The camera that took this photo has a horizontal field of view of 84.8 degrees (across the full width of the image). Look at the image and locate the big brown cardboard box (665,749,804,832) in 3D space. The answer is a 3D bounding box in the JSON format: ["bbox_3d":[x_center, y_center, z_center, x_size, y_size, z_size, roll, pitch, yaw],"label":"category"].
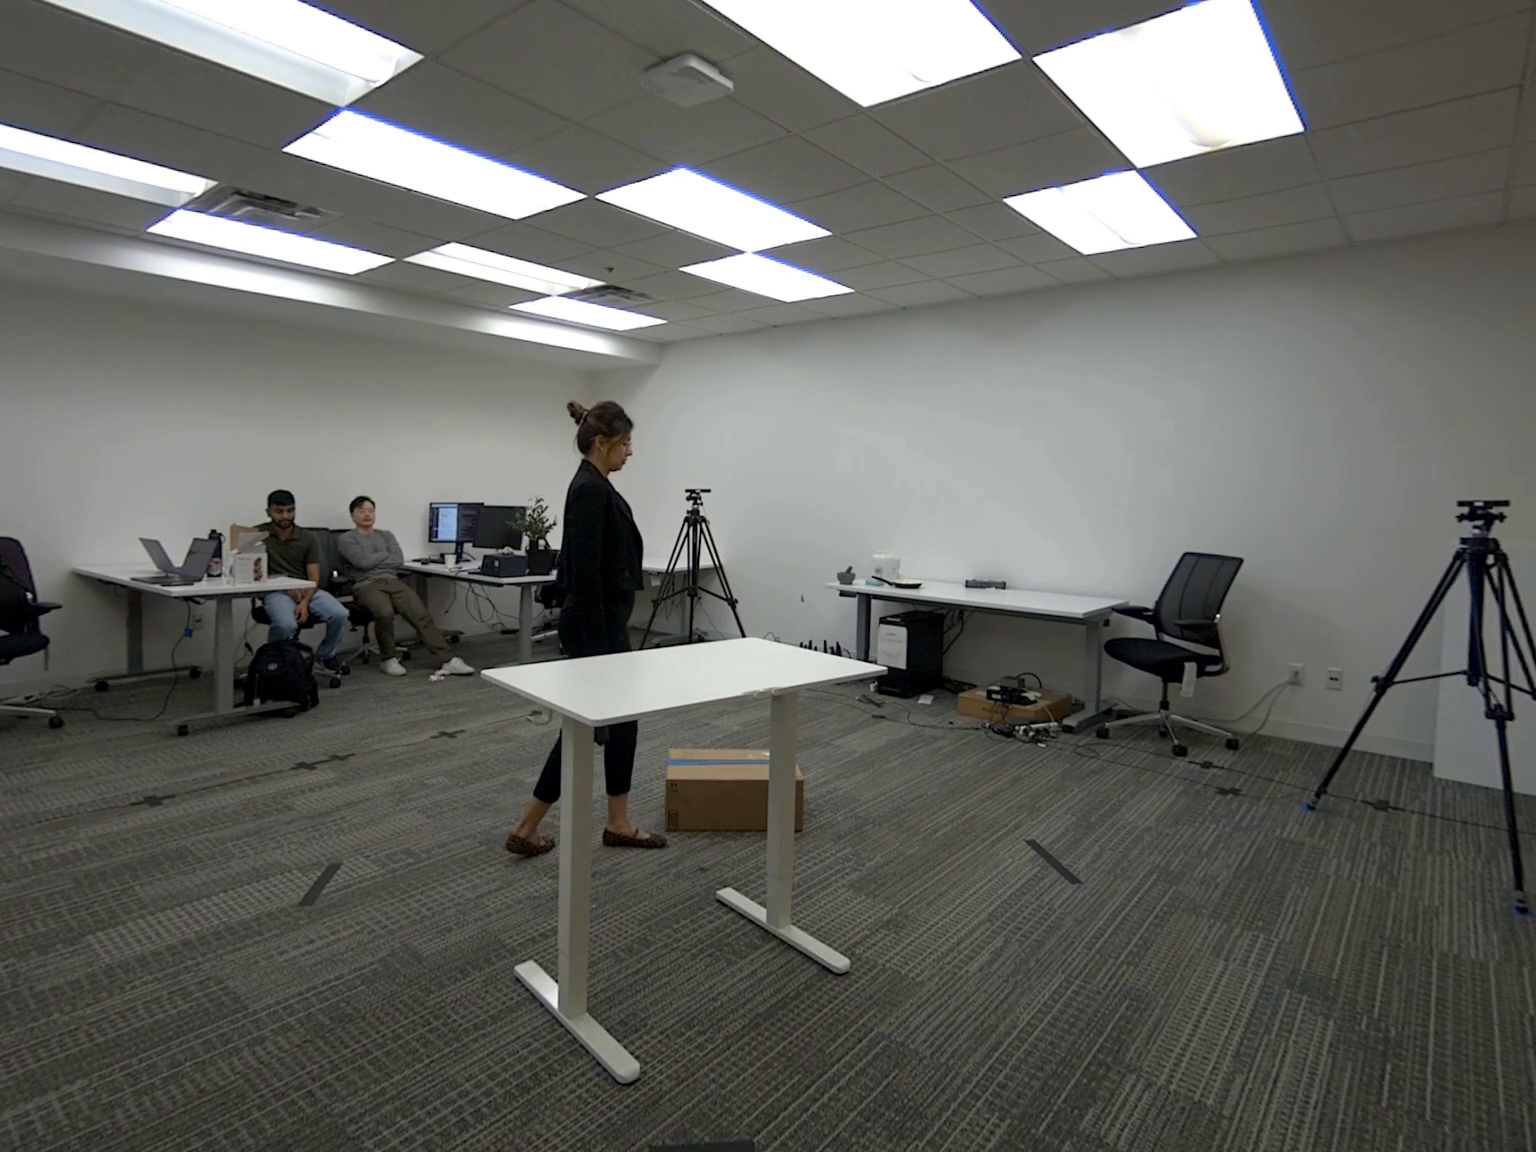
[{"bbox_3d":[-0.161,0.908,3.669,0.587,0.232,0.421,0,5,-4],"label":"big brown cardboard box"}]
